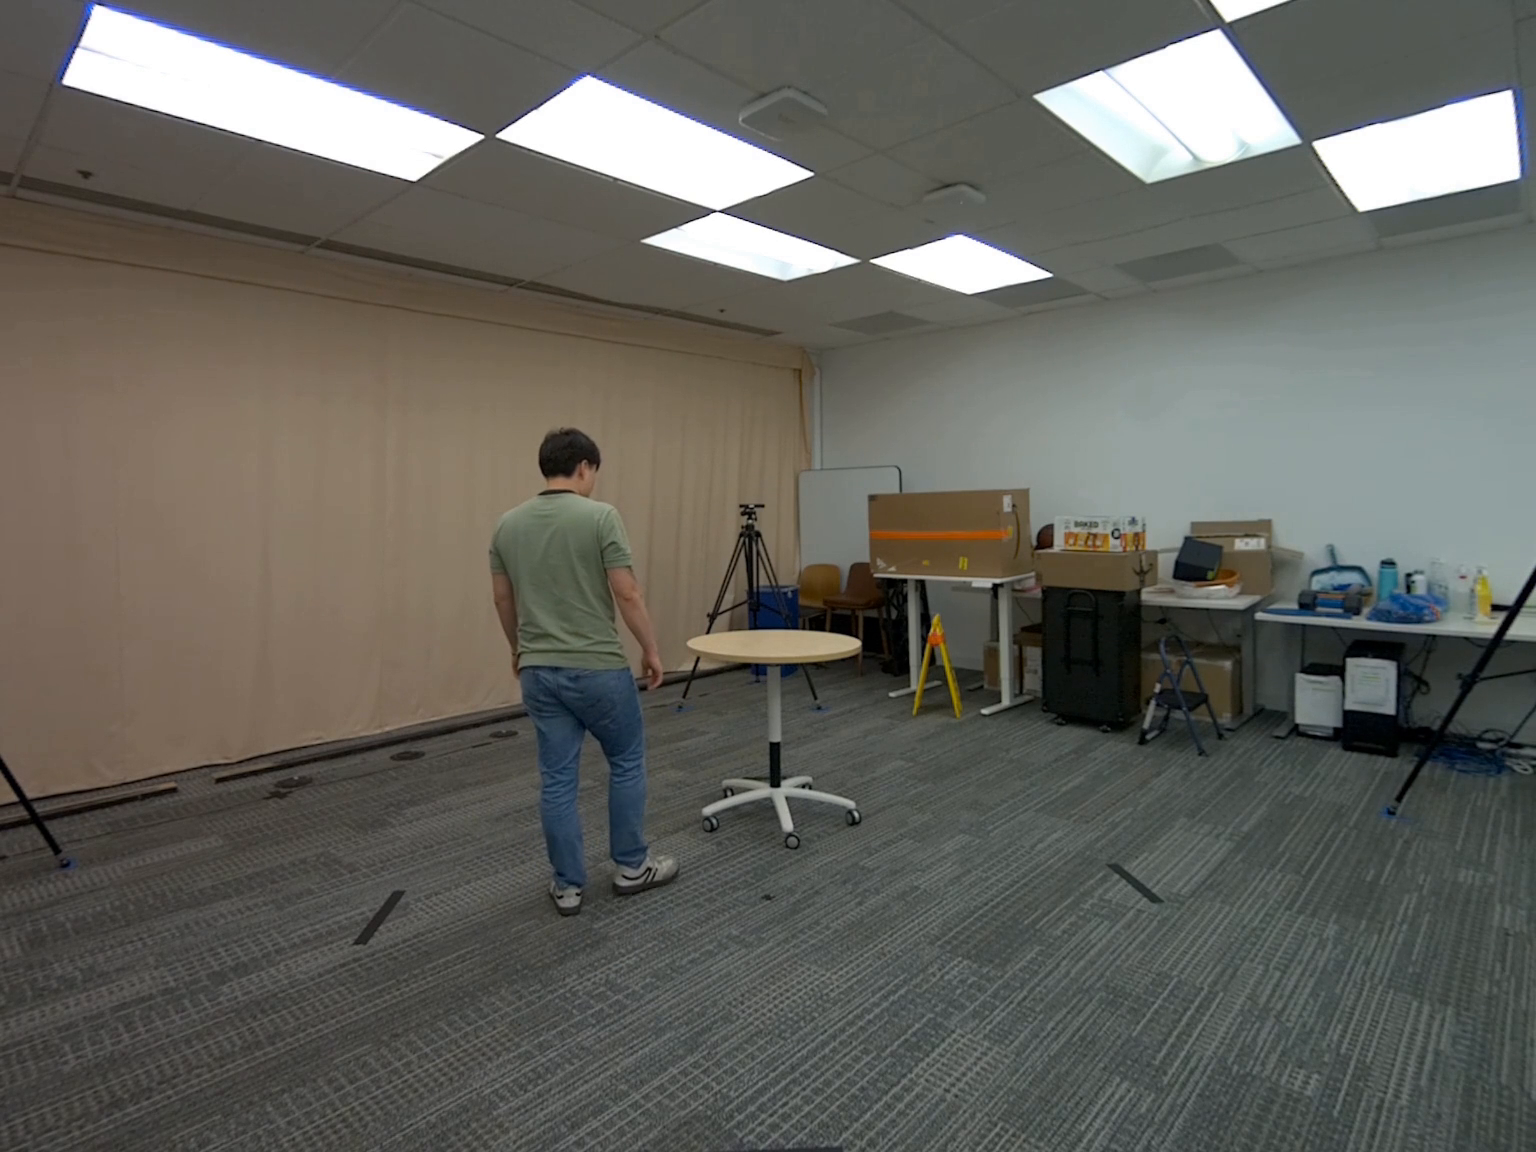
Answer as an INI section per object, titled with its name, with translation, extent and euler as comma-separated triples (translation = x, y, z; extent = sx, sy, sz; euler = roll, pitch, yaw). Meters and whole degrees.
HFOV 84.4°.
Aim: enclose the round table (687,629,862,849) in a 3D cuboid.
[round table]
translation = 0.029, 0.685, 3.725
extent = 0.763, 0.793, 0.766
euler = -1, 3, -2
